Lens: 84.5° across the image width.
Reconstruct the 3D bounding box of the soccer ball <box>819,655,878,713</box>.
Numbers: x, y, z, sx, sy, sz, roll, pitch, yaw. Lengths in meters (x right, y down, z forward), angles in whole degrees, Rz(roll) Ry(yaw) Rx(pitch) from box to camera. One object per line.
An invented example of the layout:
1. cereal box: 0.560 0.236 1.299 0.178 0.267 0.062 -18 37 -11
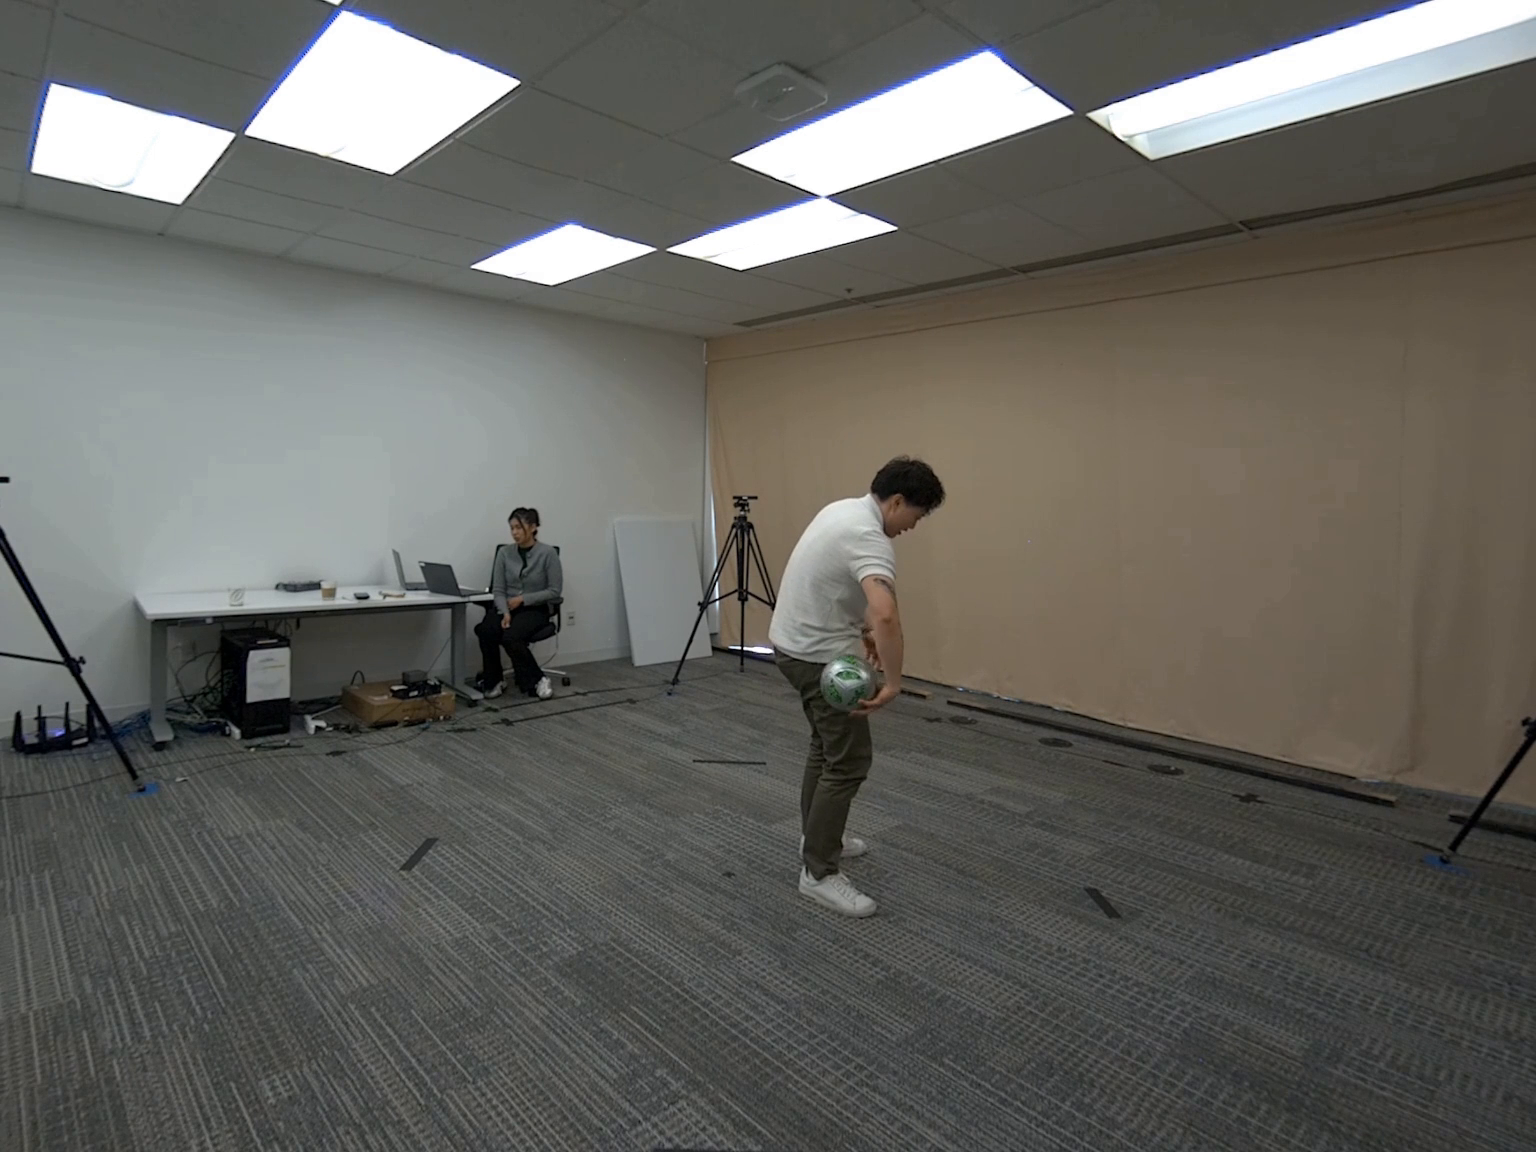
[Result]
1. soccer ball: 0.247 0.343 2.715 0.187 0.187 0.188 1 4 -1
